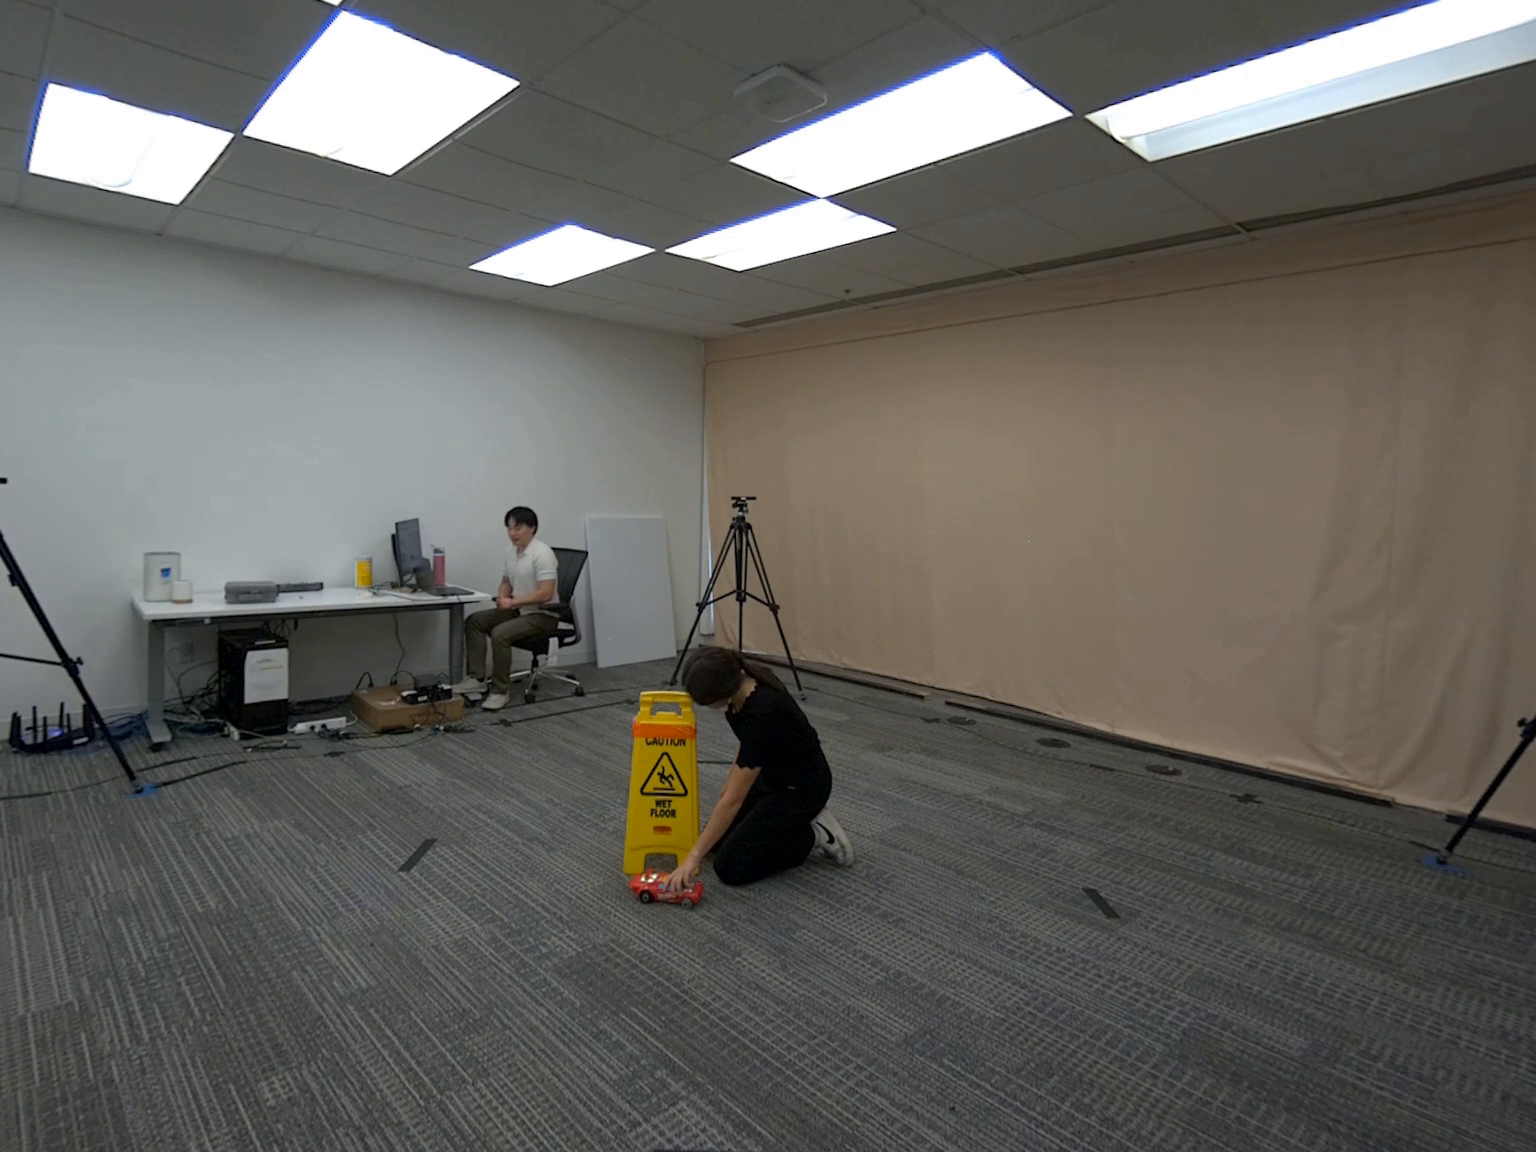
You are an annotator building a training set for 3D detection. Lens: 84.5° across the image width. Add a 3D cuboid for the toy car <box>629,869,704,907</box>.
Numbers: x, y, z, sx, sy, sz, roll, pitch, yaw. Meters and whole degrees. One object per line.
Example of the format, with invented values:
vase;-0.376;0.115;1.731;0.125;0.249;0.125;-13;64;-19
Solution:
toy car;-0.375;1.086;2.920;0.257;0.083;0.130;15;10;10
